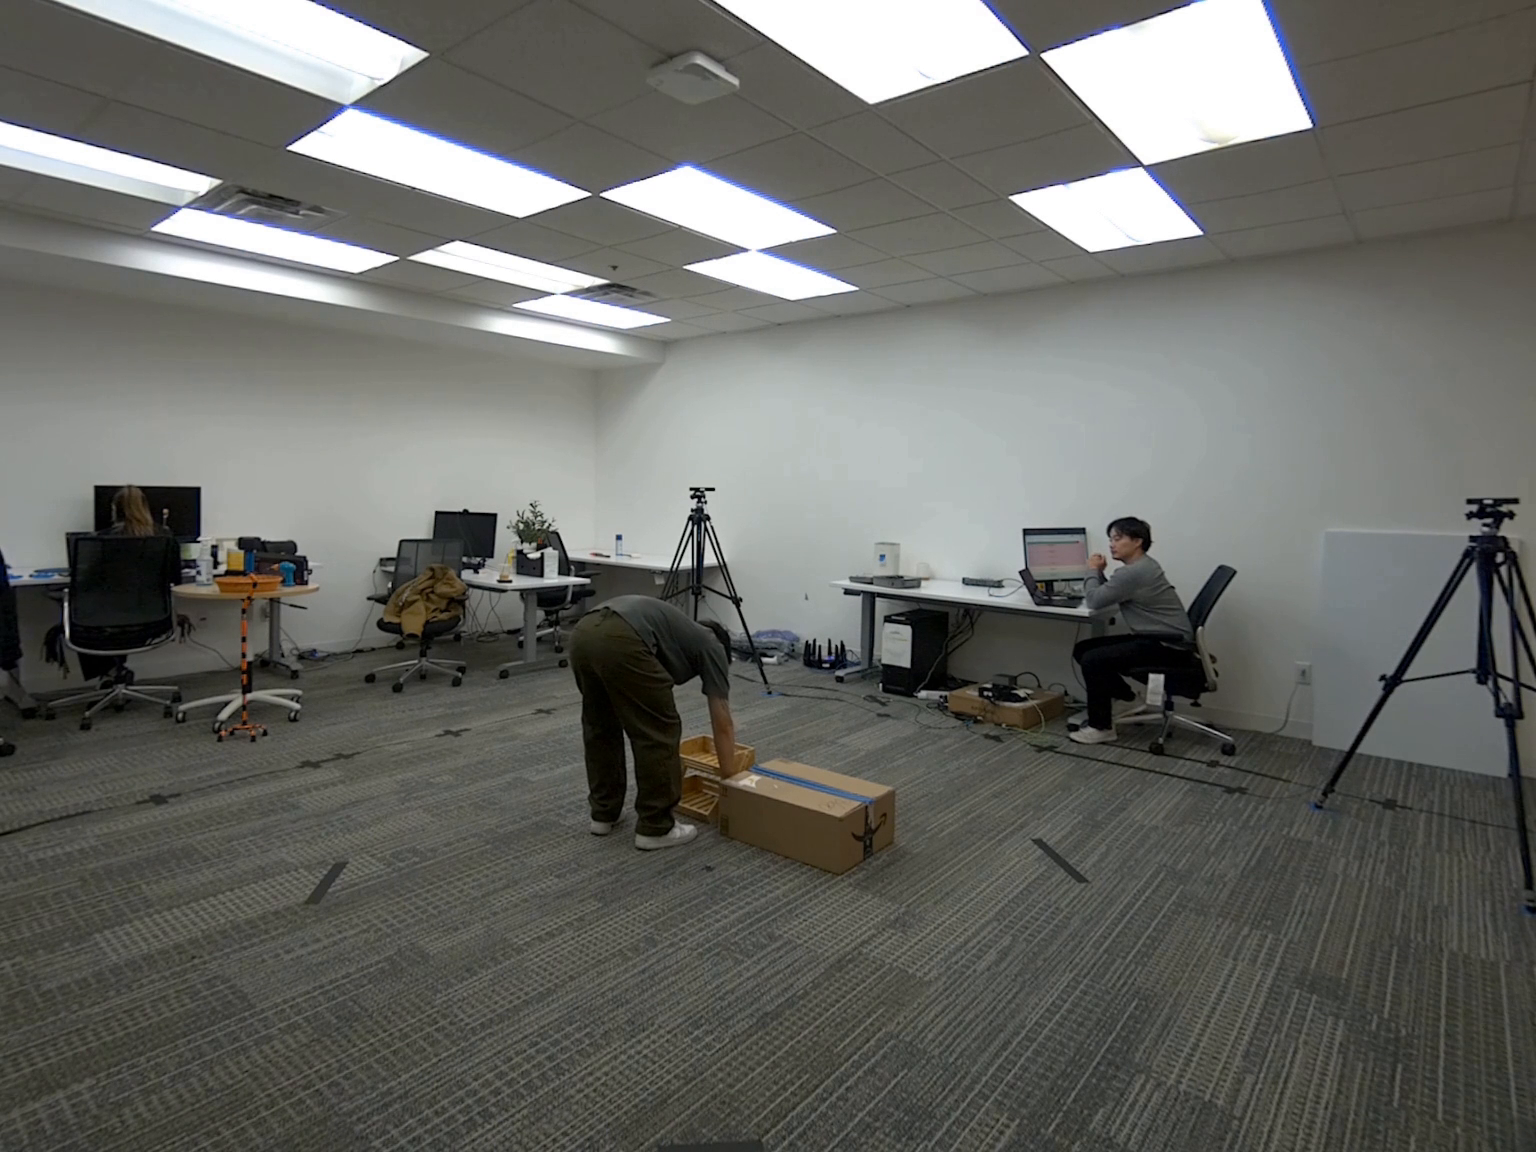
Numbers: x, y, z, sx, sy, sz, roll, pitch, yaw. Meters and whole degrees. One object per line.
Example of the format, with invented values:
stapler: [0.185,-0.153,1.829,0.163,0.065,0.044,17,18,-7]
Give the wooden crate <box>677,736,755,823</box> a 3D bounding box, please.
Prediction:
wooden crate: [-0.282,0.873,3.712,0.335,0.272,0.293,4,5,39]
